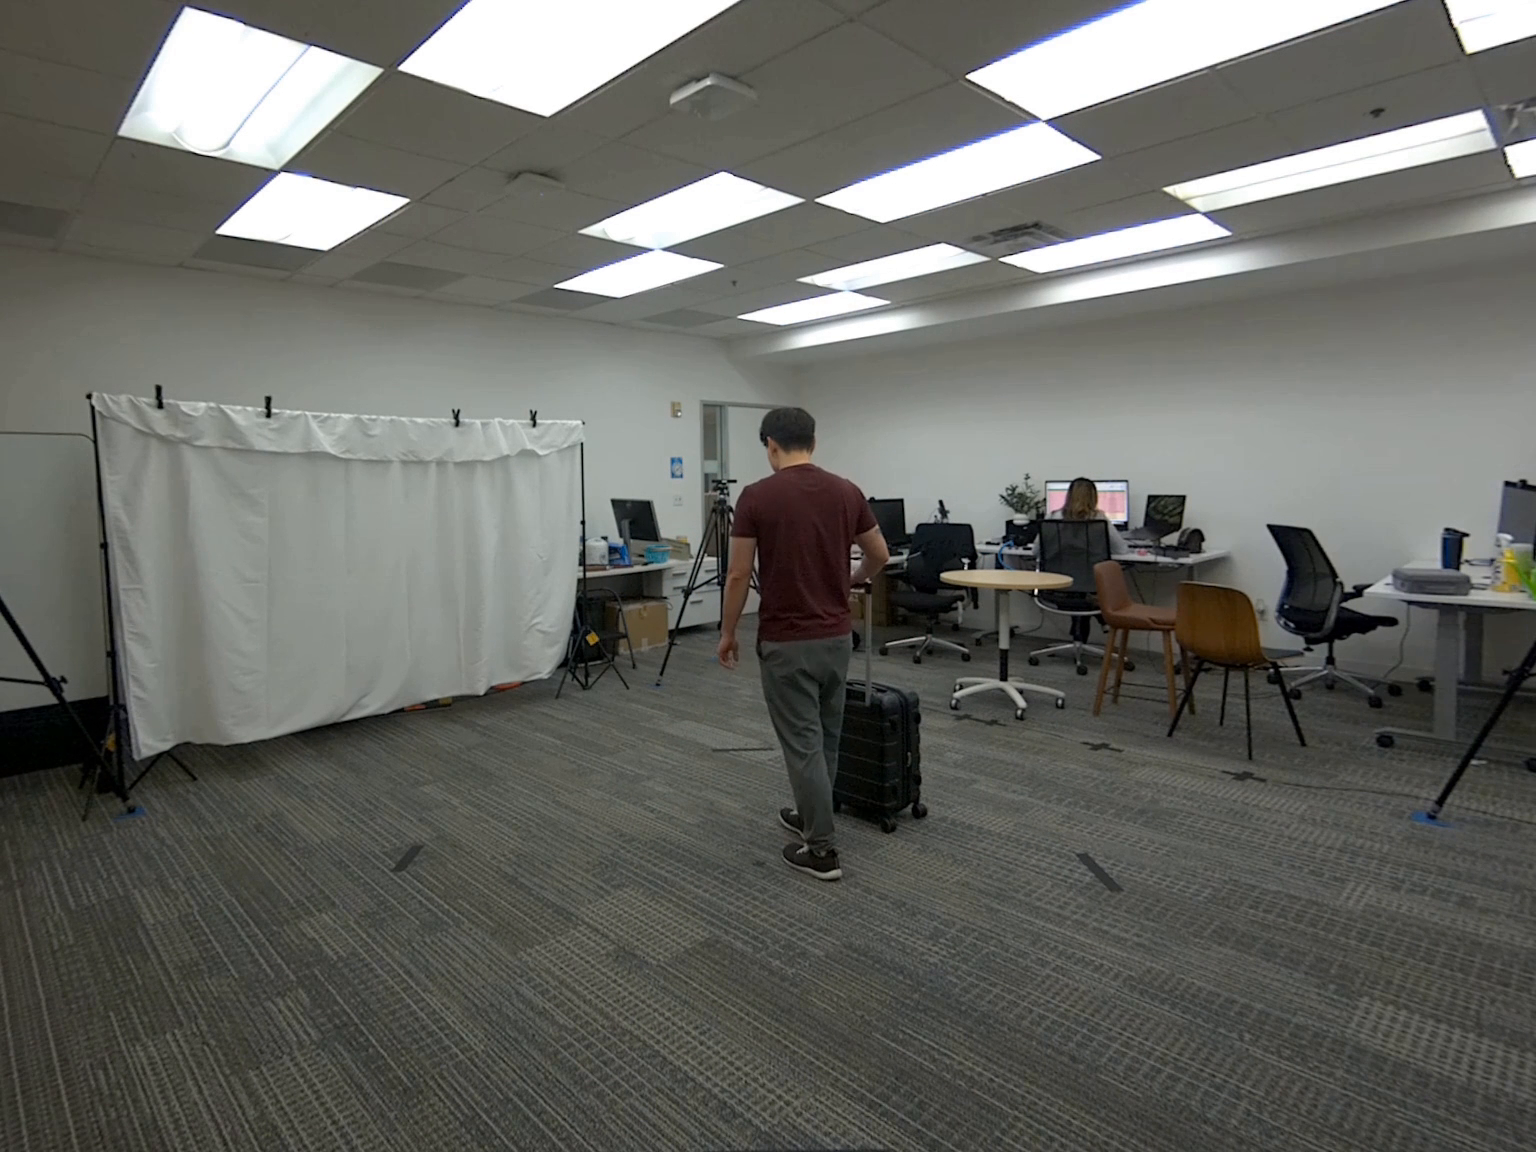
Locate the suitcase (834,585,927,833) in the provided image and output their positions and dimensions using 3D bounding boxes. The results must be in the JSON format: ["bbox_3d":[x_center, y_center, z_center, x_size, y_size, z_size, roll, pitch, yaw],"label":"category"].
[{"bbox_3d":[0.441,0.513,3.562,0.250,0.977,0.395,-1,2,-42],"label":"suitcase"}]
